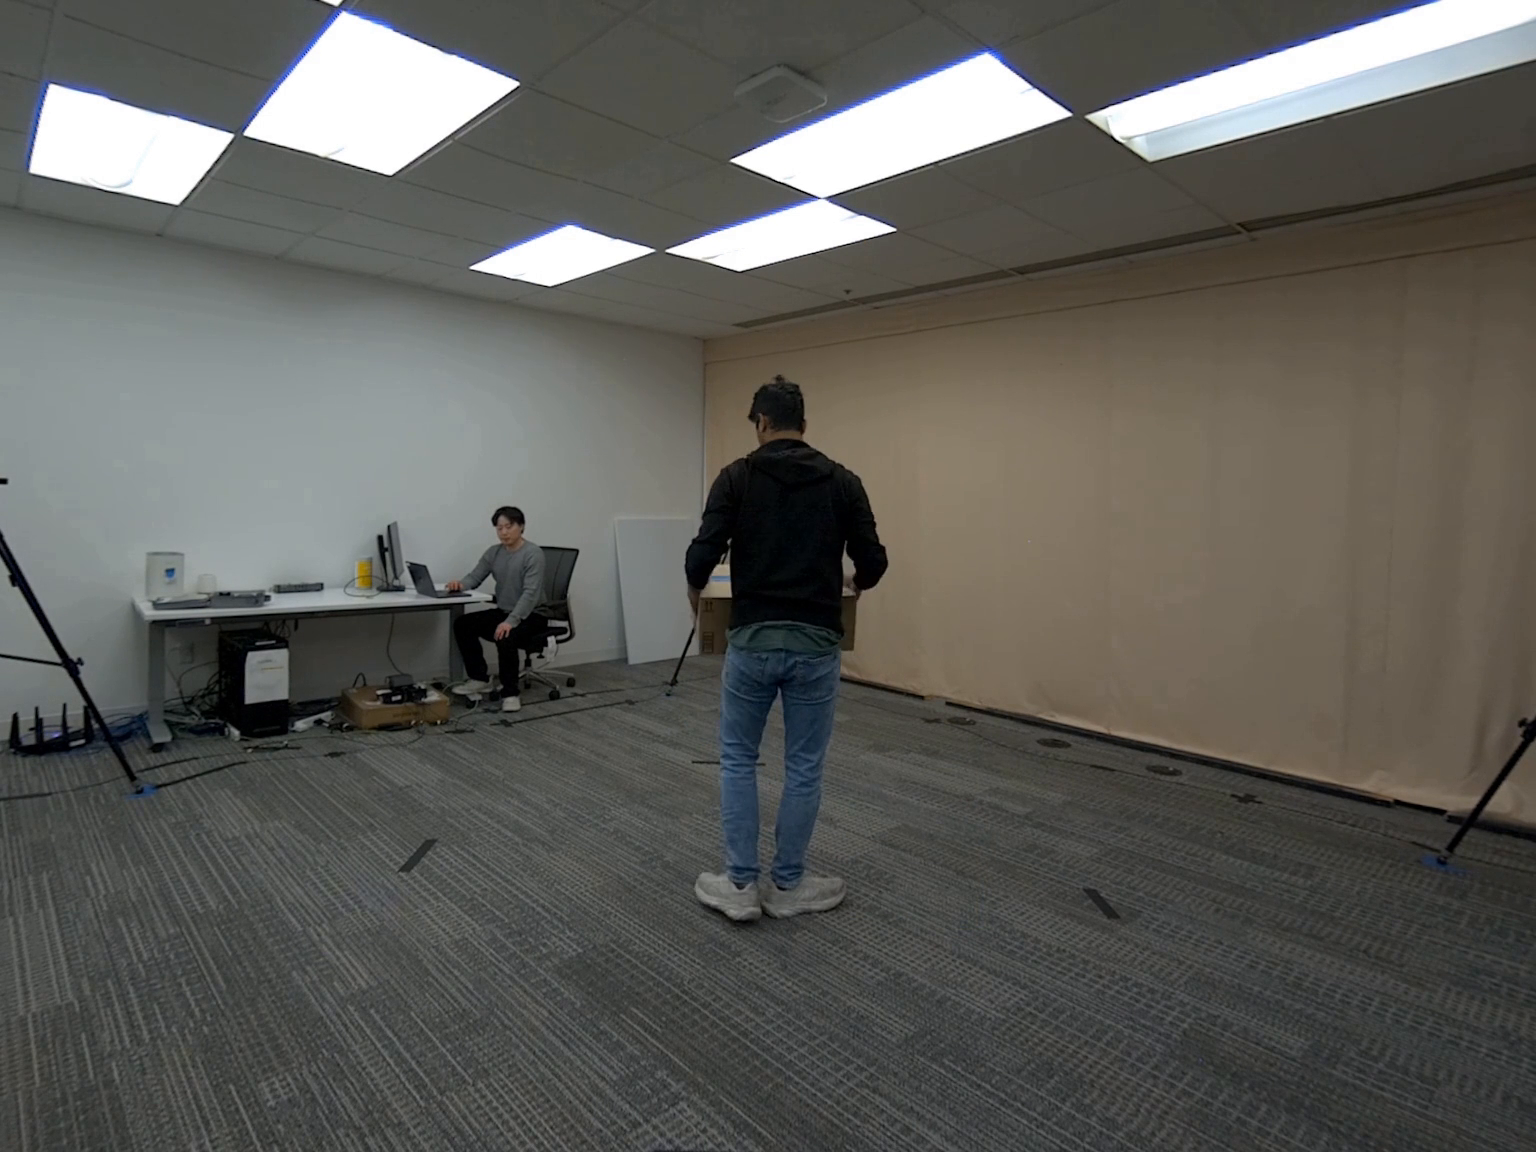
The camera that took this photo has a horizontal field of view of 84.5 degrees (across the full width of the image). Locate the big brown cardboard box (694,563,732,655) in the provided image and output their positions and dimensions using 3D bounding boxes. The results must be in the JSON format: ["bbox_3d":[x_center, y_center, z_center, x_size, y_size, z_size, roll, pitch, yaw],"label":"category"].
[{"bbox_3d":[0.009,0.112,3.172,0.585,0.231,0.424,-1,14,-9],"label":"big brown cardboard box"}]
